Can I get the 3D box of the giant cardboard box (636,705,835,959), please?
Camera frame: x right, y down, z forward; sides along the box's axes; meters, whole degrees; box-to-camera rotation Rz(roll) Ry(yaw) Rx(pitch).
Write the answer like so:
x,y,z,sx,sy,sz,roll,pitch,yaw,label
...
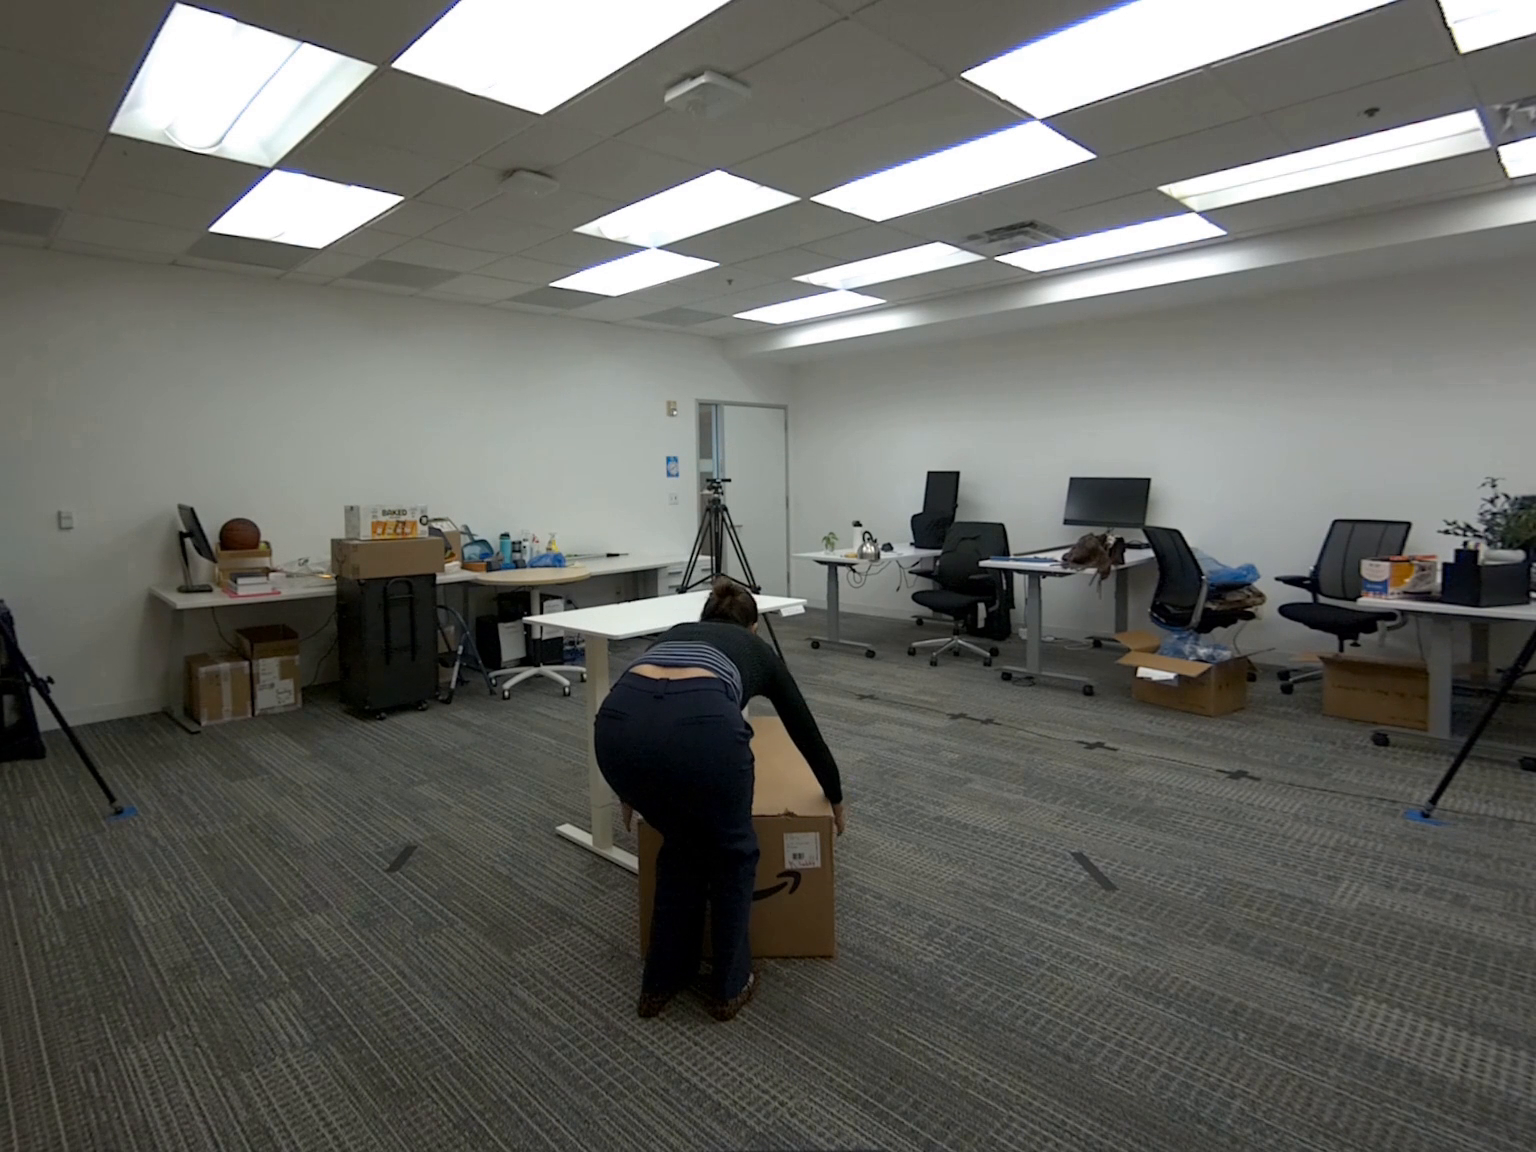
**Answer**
x,y,z,sx,sy,sz,roll,pitch,yaw,label
-0.107,0.841,2.986,0.577,0.424,1.032,-2,6,-2,giant cardboard box
